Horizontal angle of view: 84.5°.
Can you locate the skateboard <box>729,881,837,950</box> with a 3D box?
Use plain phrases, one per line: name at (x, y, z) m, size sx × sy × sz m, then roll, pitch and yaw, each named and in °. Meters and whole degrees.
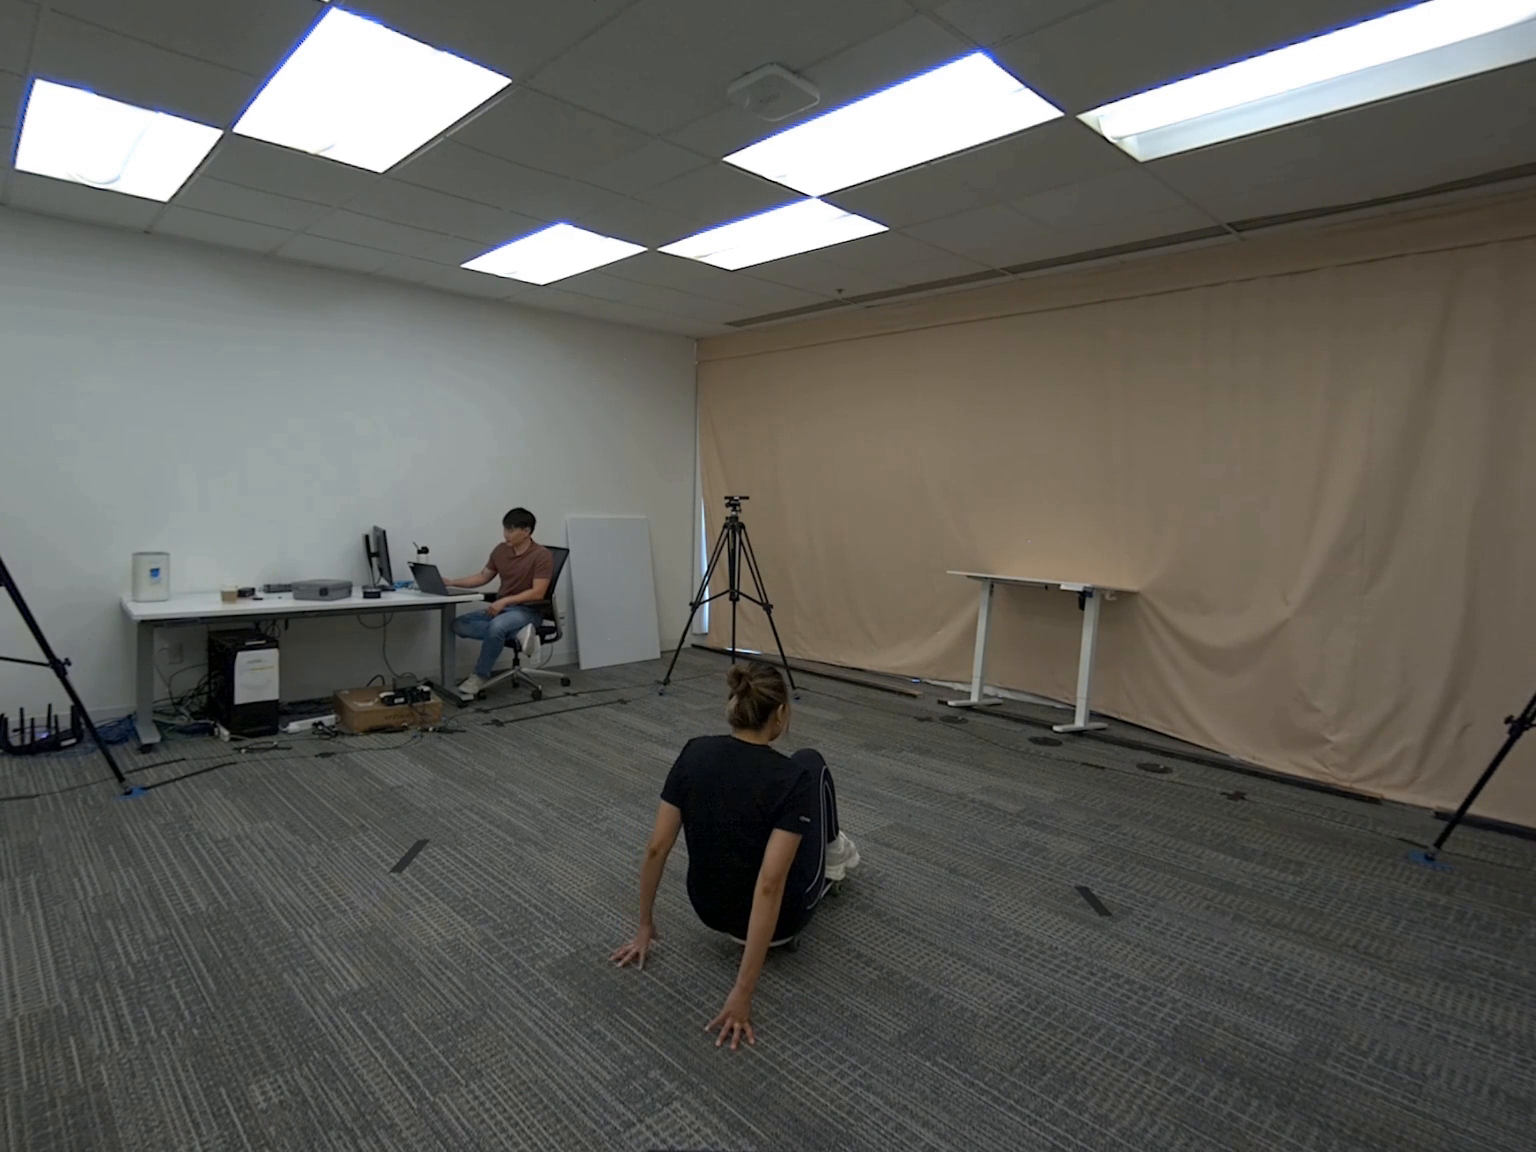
skateboard at (0.088, 1.090, 2.798) m, size 0.197 × 0.110 × 0.774 m, roll 2°, pitch 5°, yaw 22°
